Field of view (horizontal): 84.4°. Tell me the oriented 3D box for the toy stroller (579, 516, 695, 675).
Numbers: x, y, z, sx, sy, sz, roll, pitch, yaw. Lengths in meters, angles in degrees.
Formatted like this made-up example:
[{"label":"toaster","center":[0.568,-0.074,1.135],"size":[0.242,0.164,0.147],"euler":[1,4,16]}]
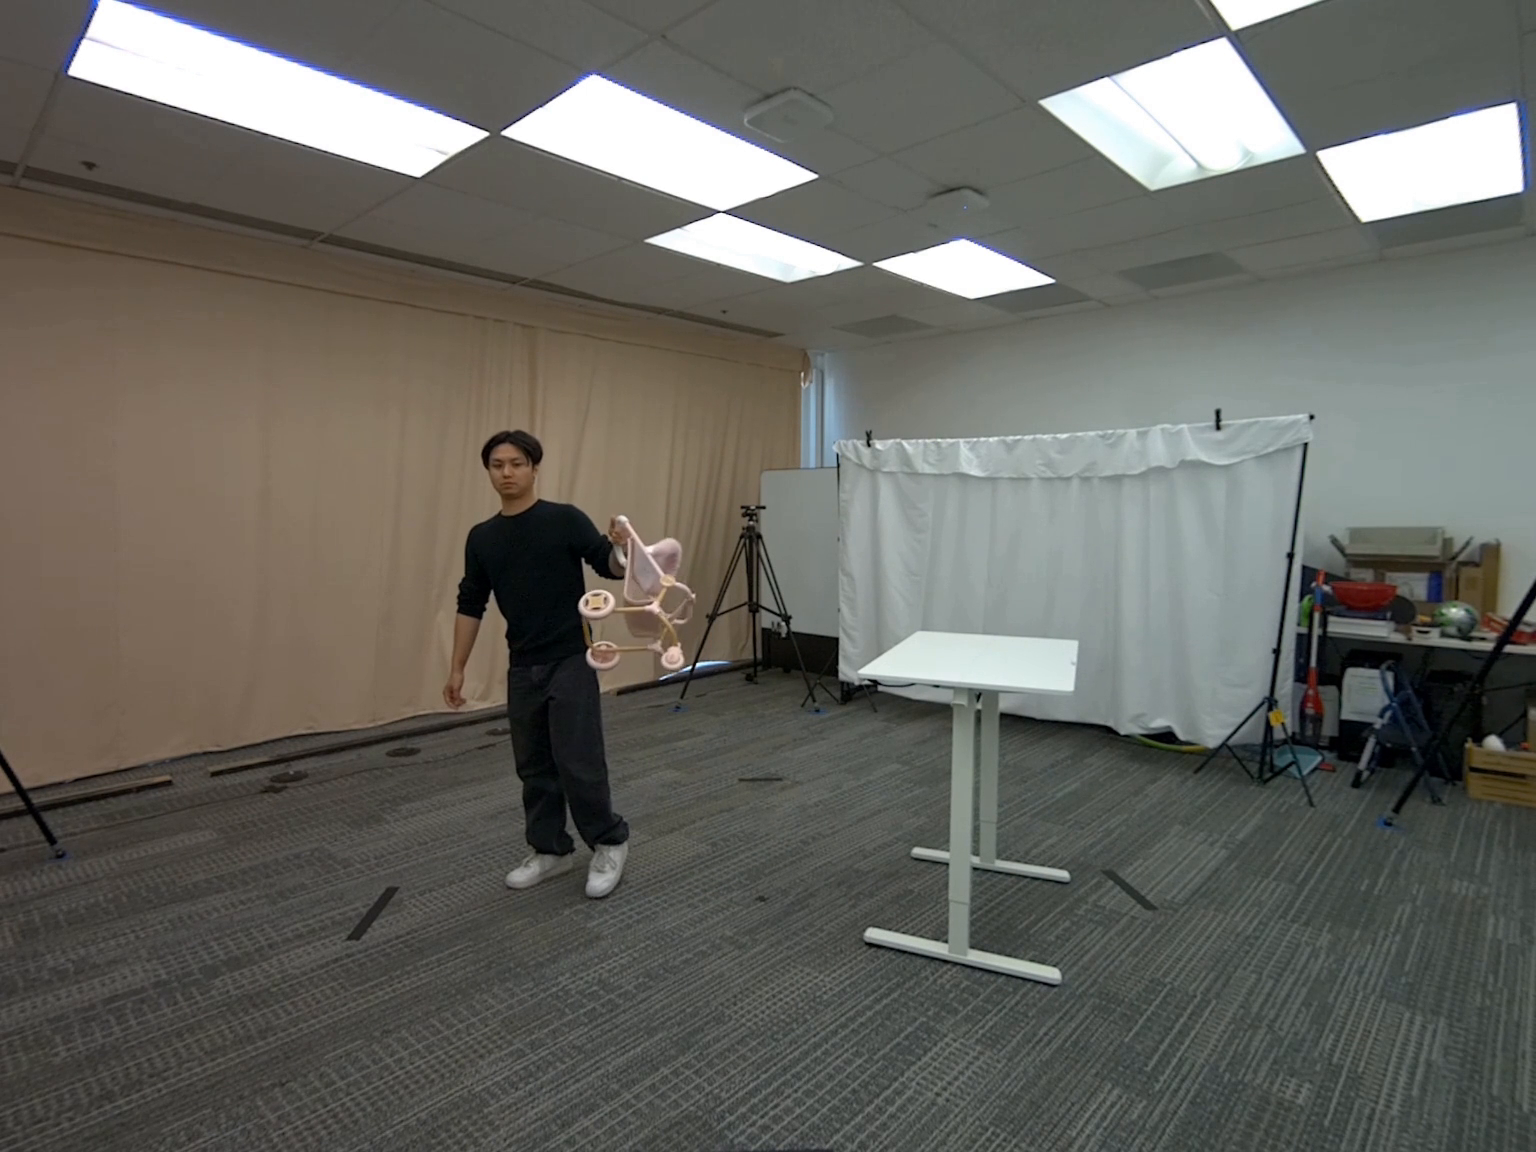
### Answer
[{"label":"toy stroller","center":[-0.383,0.068,2.687],"size":[0.344,0.276,0.541],"euler":[5,47,5]}]
